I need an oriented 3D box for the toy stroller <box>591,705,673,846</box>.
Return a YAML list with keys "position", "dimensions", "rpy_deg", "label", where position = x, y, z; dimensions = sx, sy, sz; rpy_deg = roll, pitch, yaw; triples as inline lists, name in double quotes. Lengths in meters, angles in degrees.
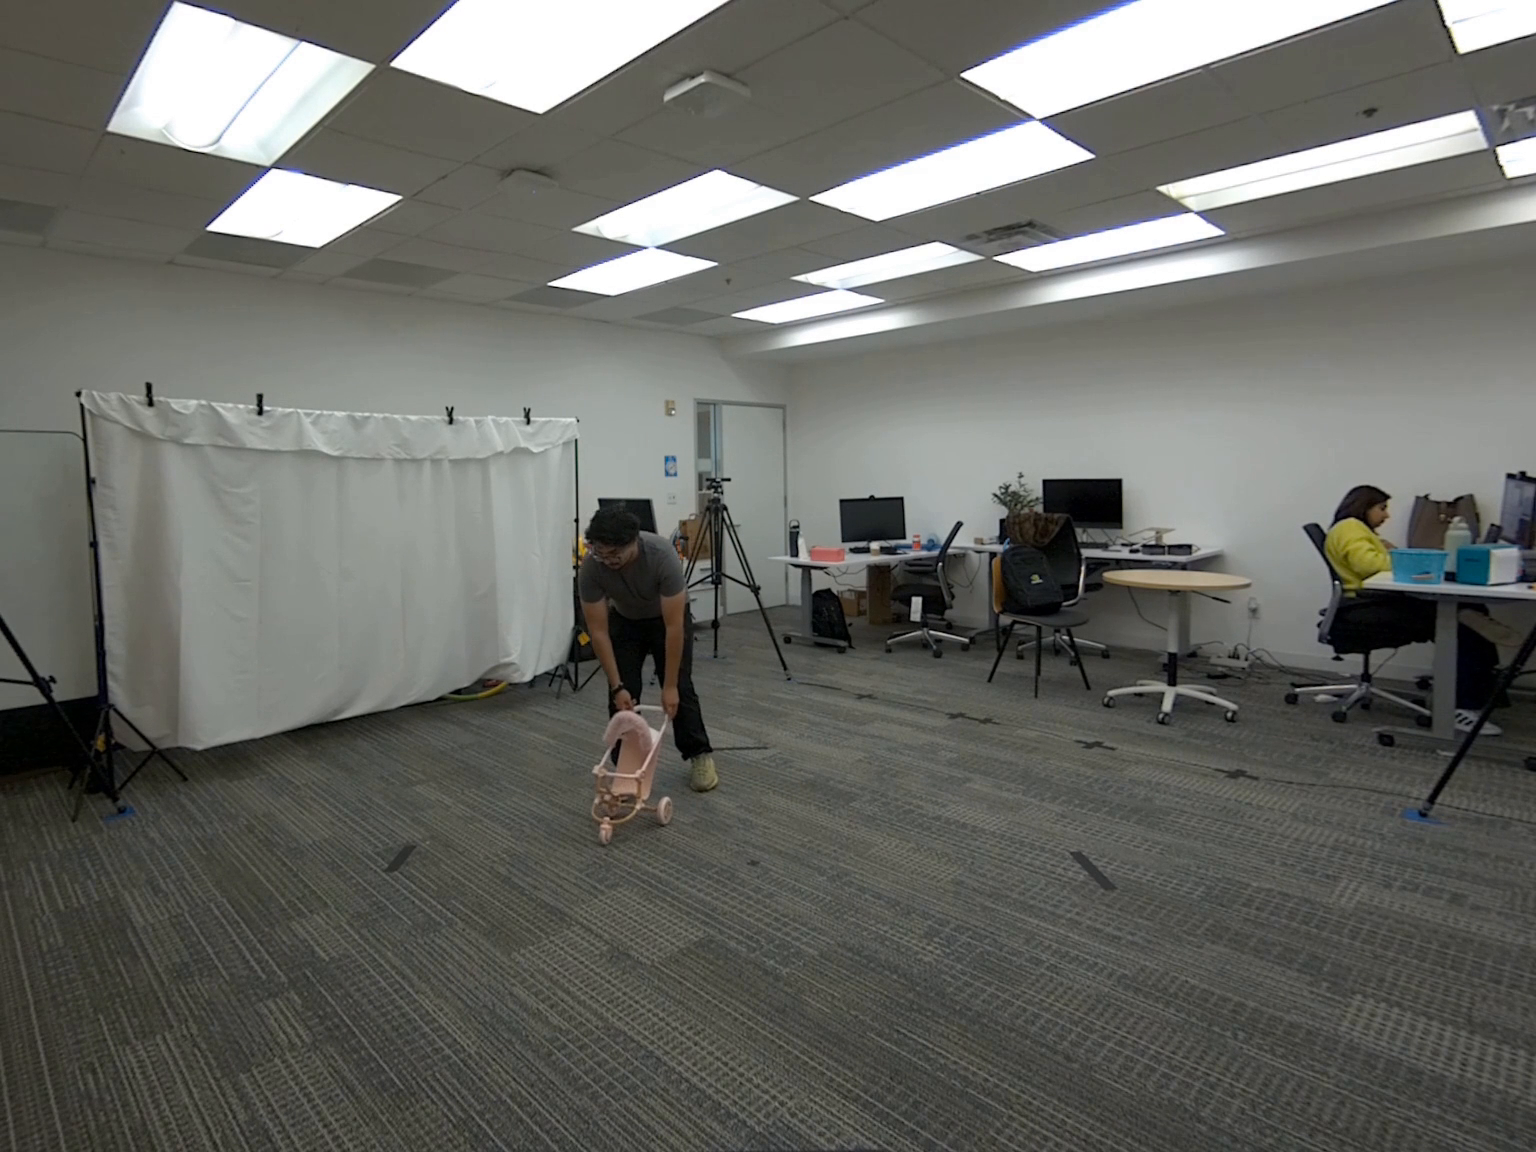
- position: [-0.568, 0.790, 3.447]
  dimensions: [0.288, 0.540, 0.330]
  rpy_deg: [-1, -12, 25]
  label: "toy stroller"
